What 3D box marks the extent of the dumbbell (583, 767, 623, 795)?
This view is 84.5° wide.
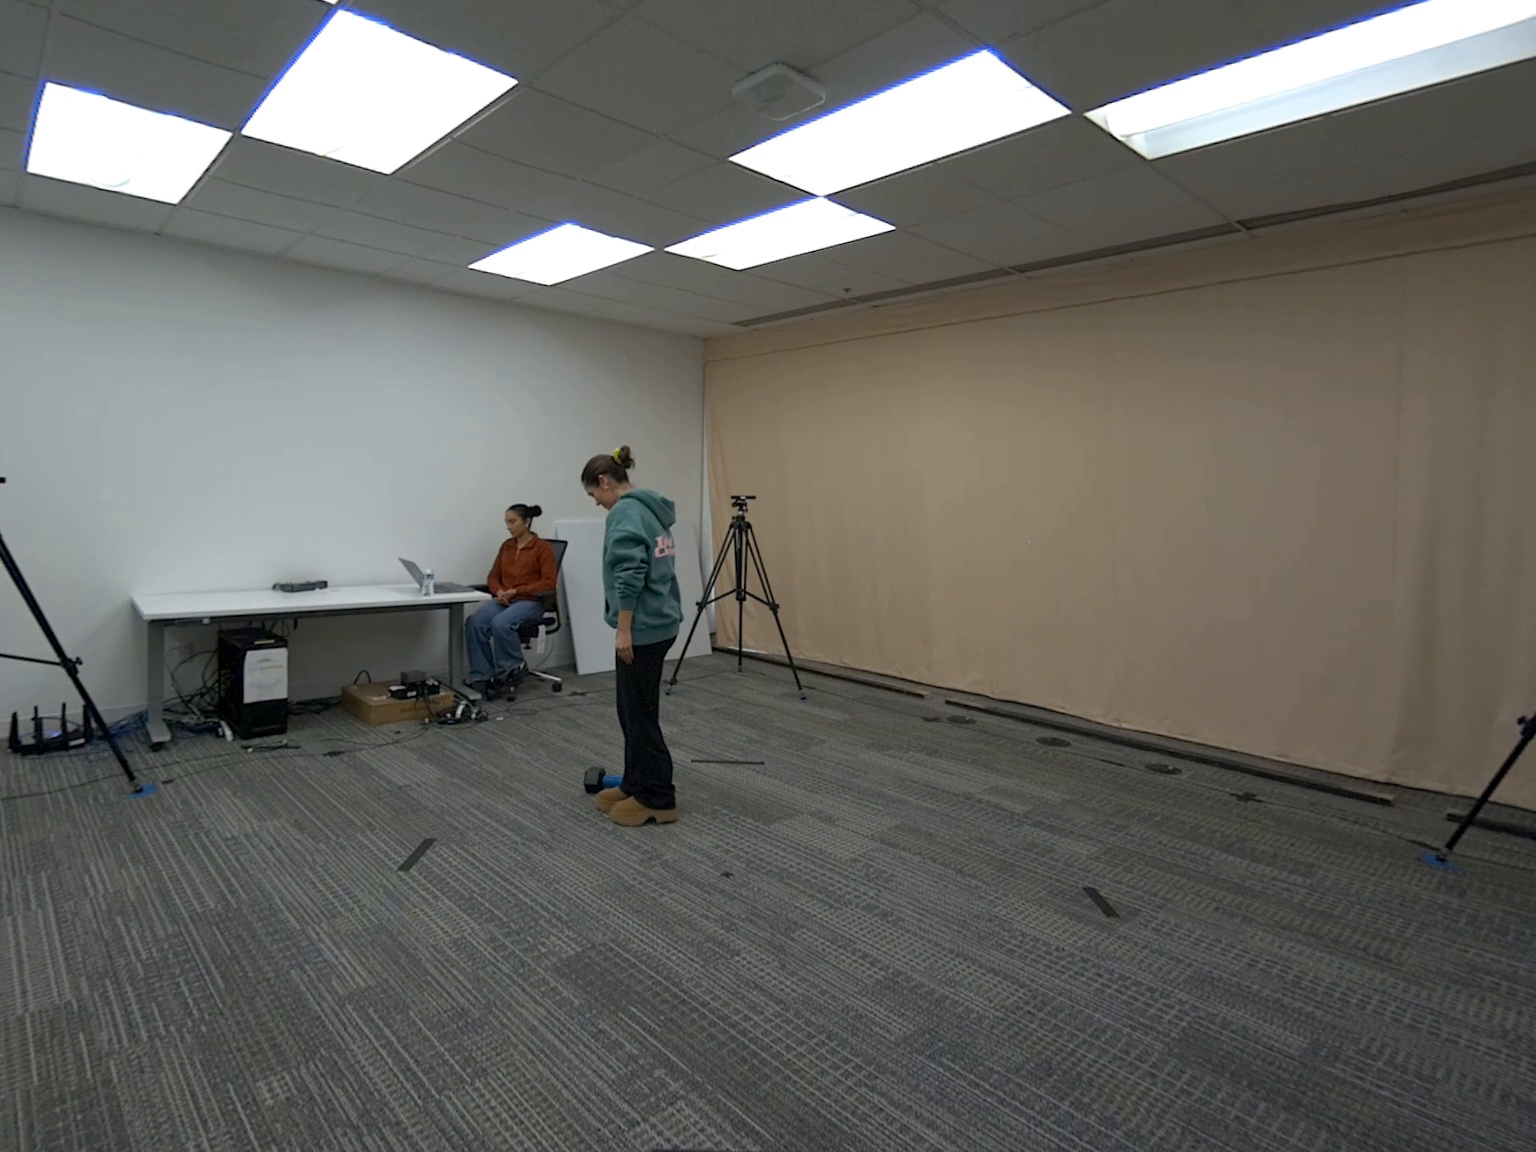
[{"bbox_3d":[-0.720,0.966,3.934,0.296,0.125,0.106,3,-24,9],"label":"dumbbell"}]
